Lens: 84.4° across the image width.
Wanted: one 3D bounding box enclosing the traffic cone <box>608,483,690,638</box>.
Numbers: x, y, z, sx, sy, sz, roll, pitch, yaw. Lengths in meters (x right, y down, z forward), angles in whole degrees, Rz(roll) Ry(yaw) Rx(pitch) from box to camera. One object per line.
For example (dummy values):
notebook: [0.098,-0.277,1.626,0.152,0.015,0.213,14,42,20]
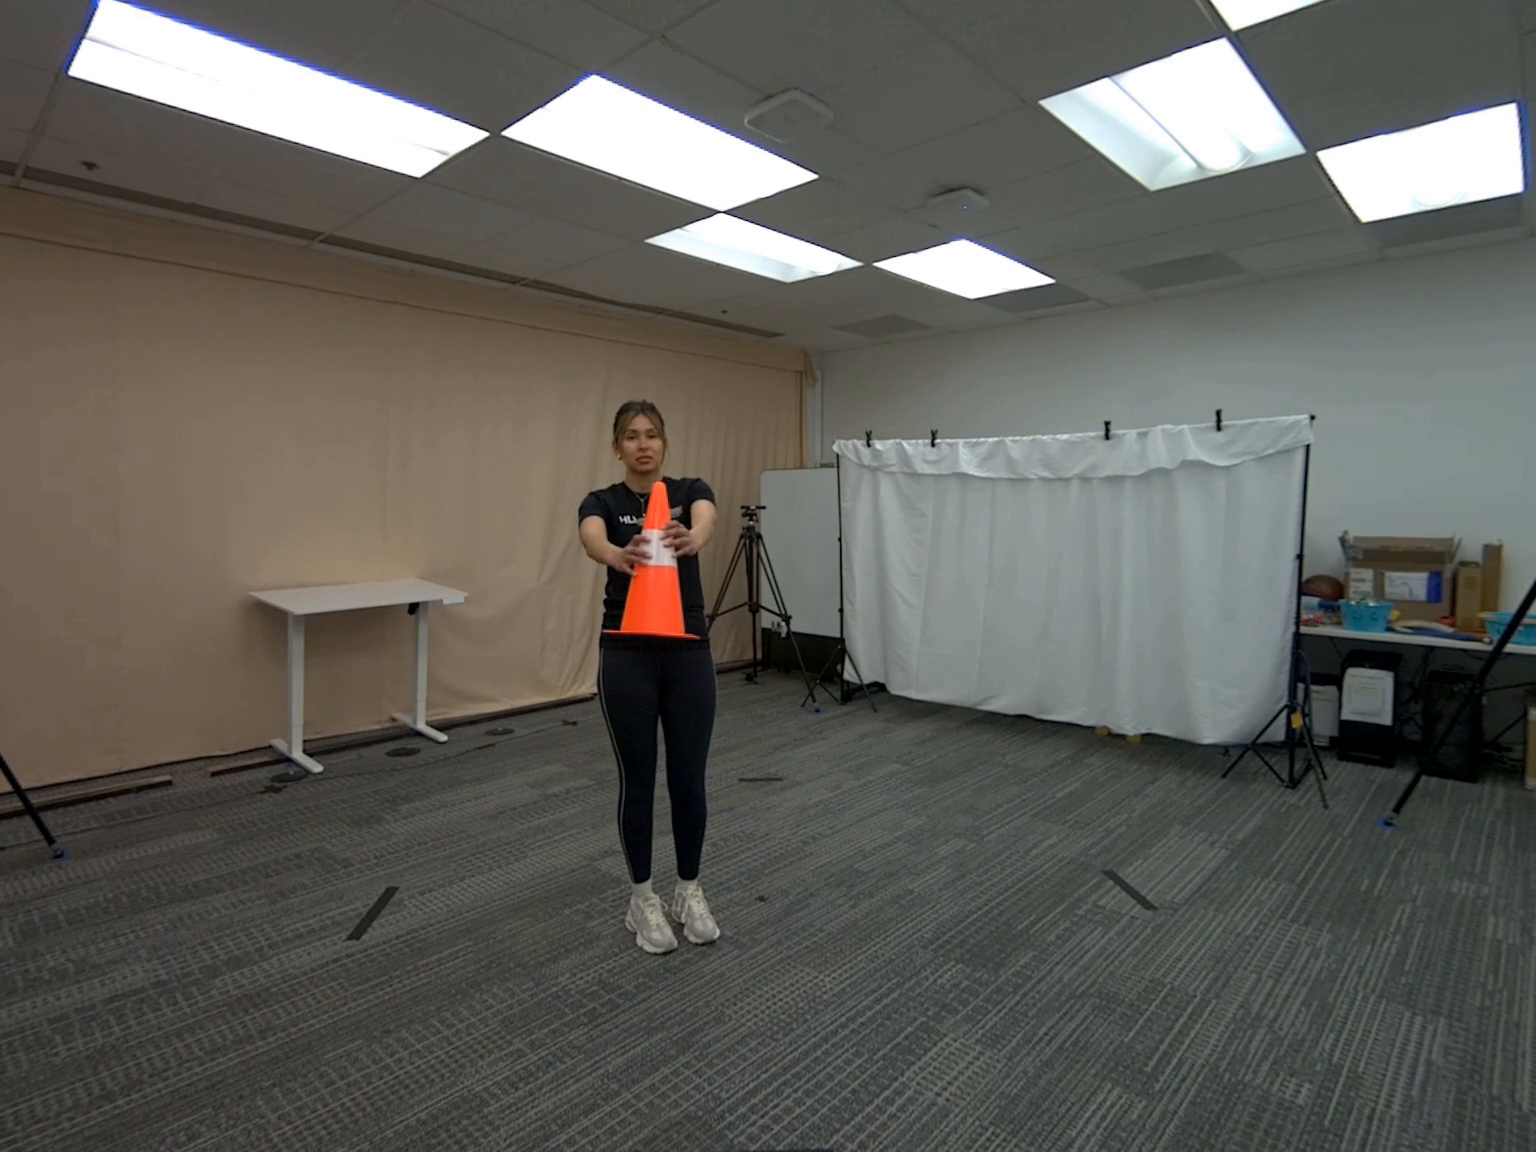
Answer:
traffic cone: [-0.285,-0.040,2.096,0.198,0.385,0.209,6,-10,-44]
